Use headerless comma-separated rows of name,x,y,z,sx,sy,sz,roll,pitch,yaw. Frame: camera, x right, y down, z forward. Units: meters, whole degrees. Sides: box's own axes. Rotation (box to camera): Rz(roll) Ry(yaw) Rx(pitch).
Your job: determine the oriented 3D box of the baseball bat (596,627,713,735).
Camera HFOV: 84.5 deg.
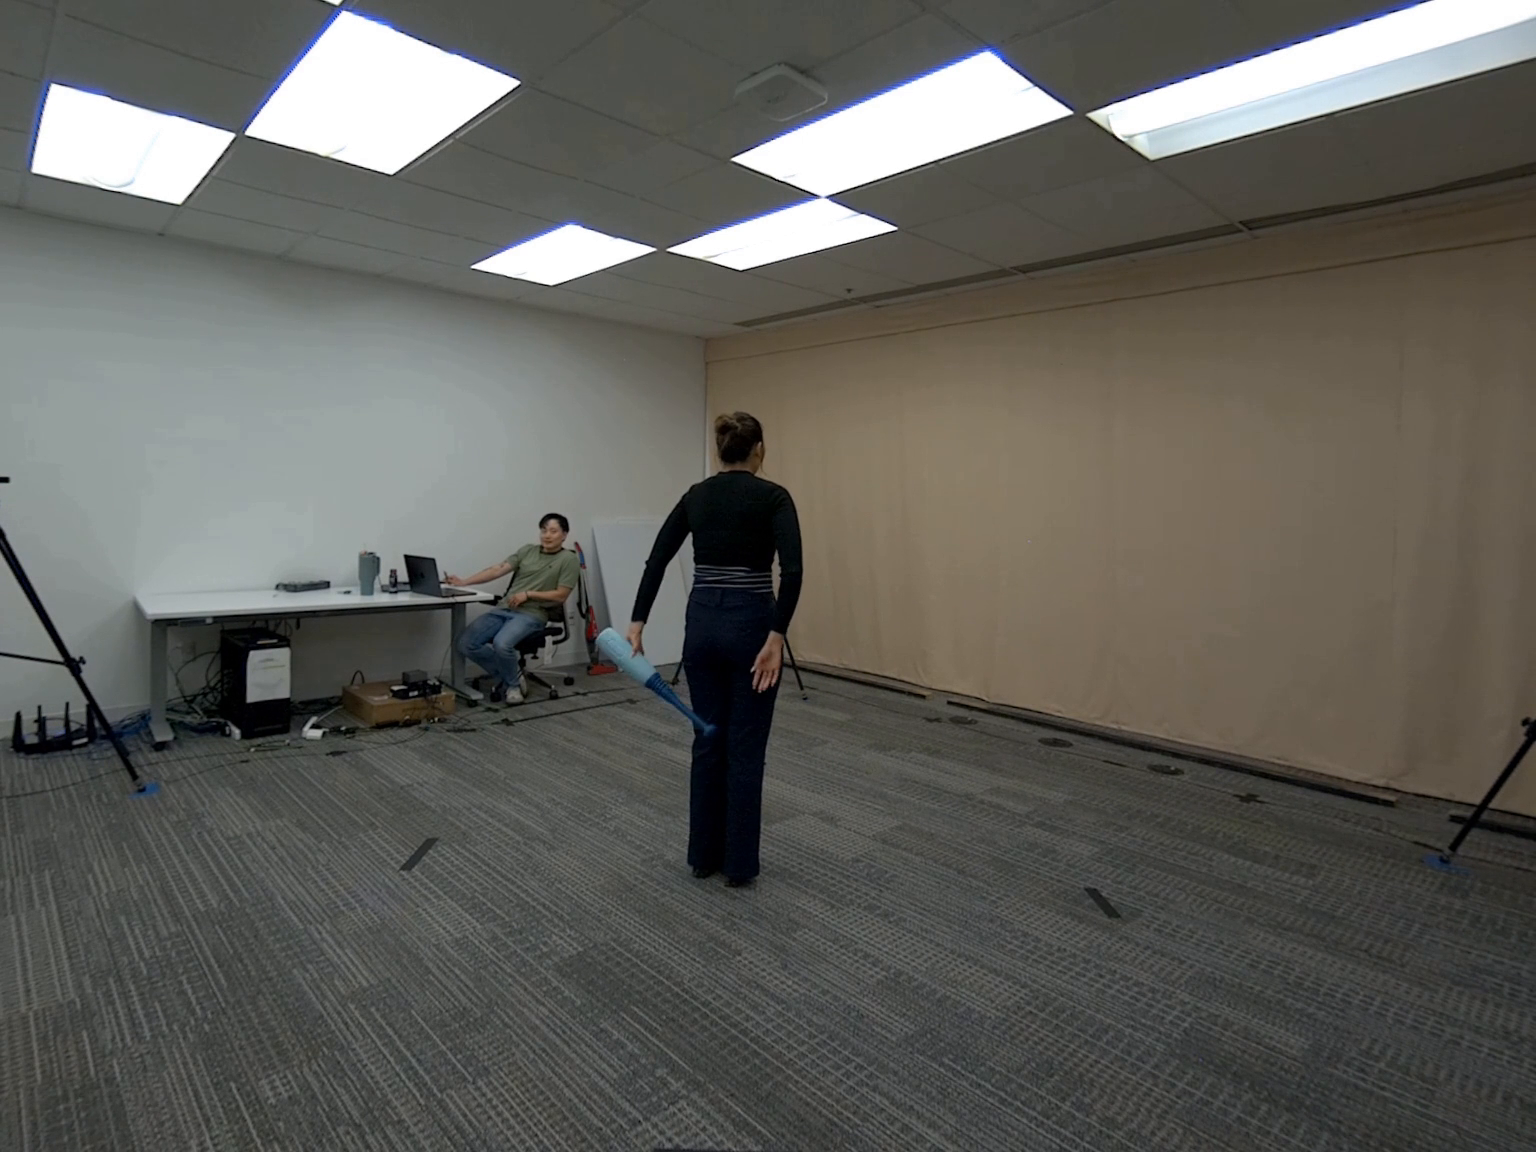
baseball bat,-0.392,0.376,2.993,0.552,0.089,0.088,38,15,15
